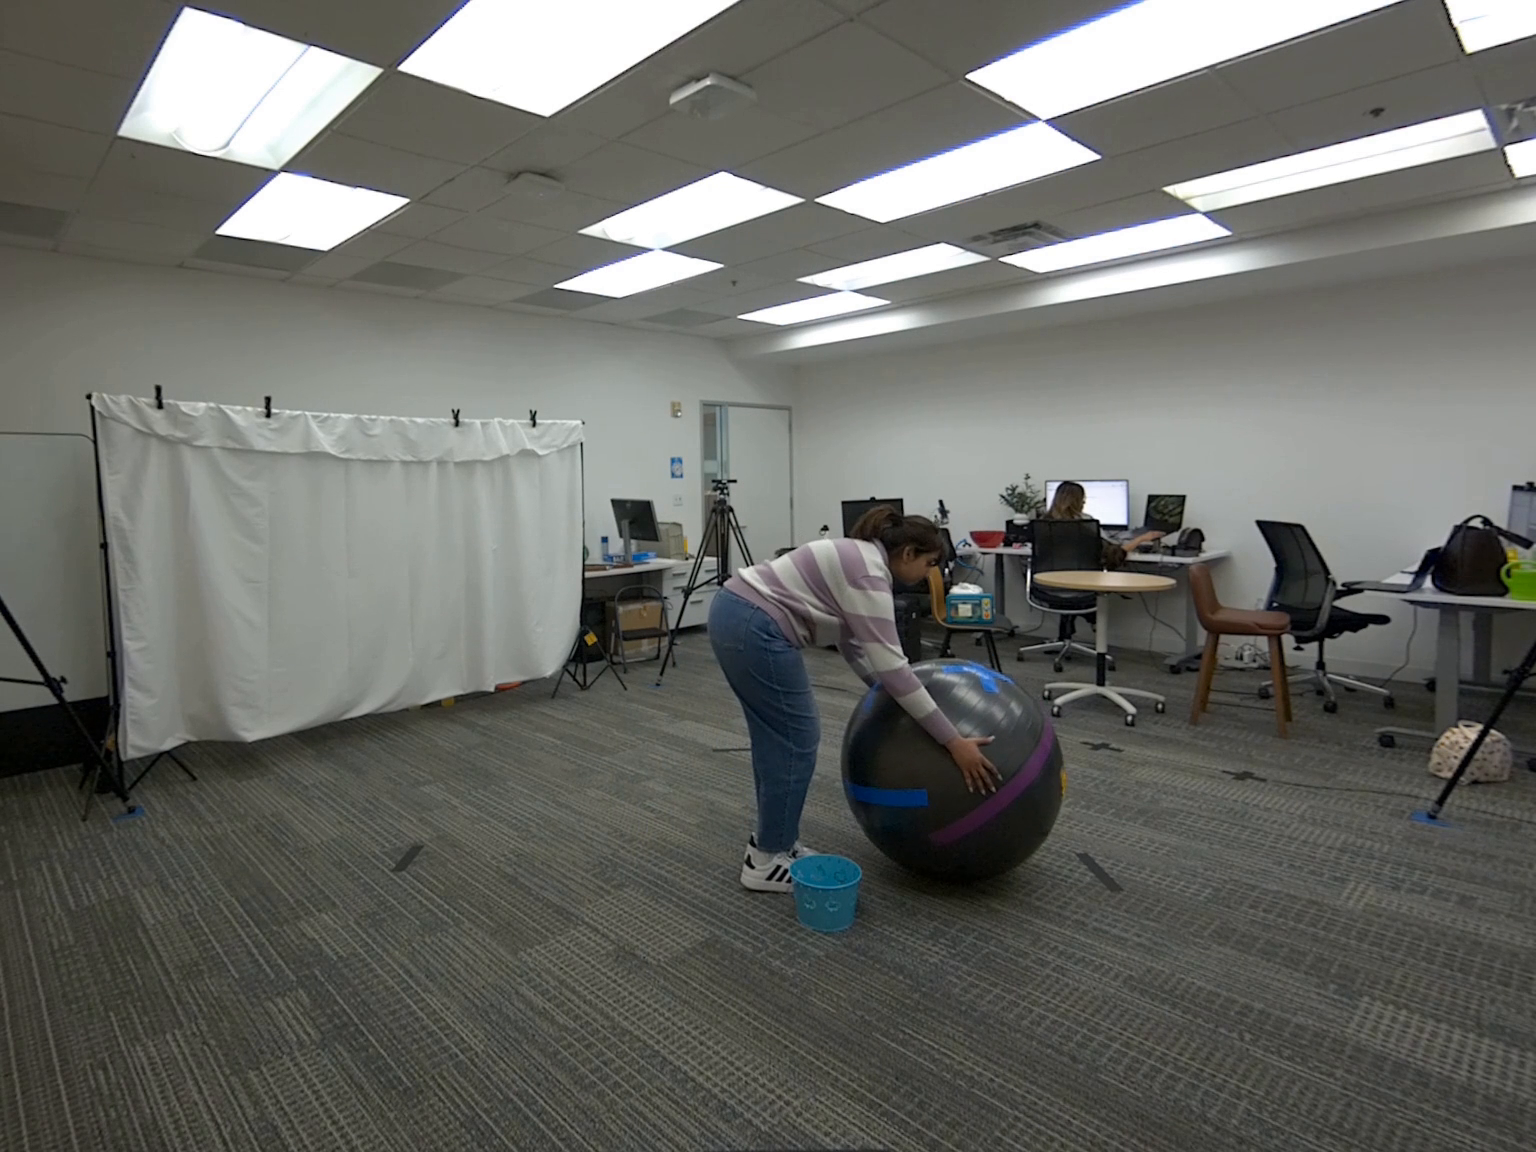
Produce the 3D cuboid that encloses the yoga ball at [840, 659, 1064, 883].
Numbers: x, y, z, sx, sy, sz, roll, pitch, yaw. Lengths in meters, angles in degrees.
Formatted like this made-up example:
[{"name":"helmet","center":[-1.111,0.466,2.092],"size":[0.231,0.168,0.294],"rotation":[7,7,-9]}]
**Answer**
[{"name":"yoga ball","center":[0.650,0.674,3.009],"size":[0.757,0.755,0.762],"rotation":[-1,5,-2]}]
